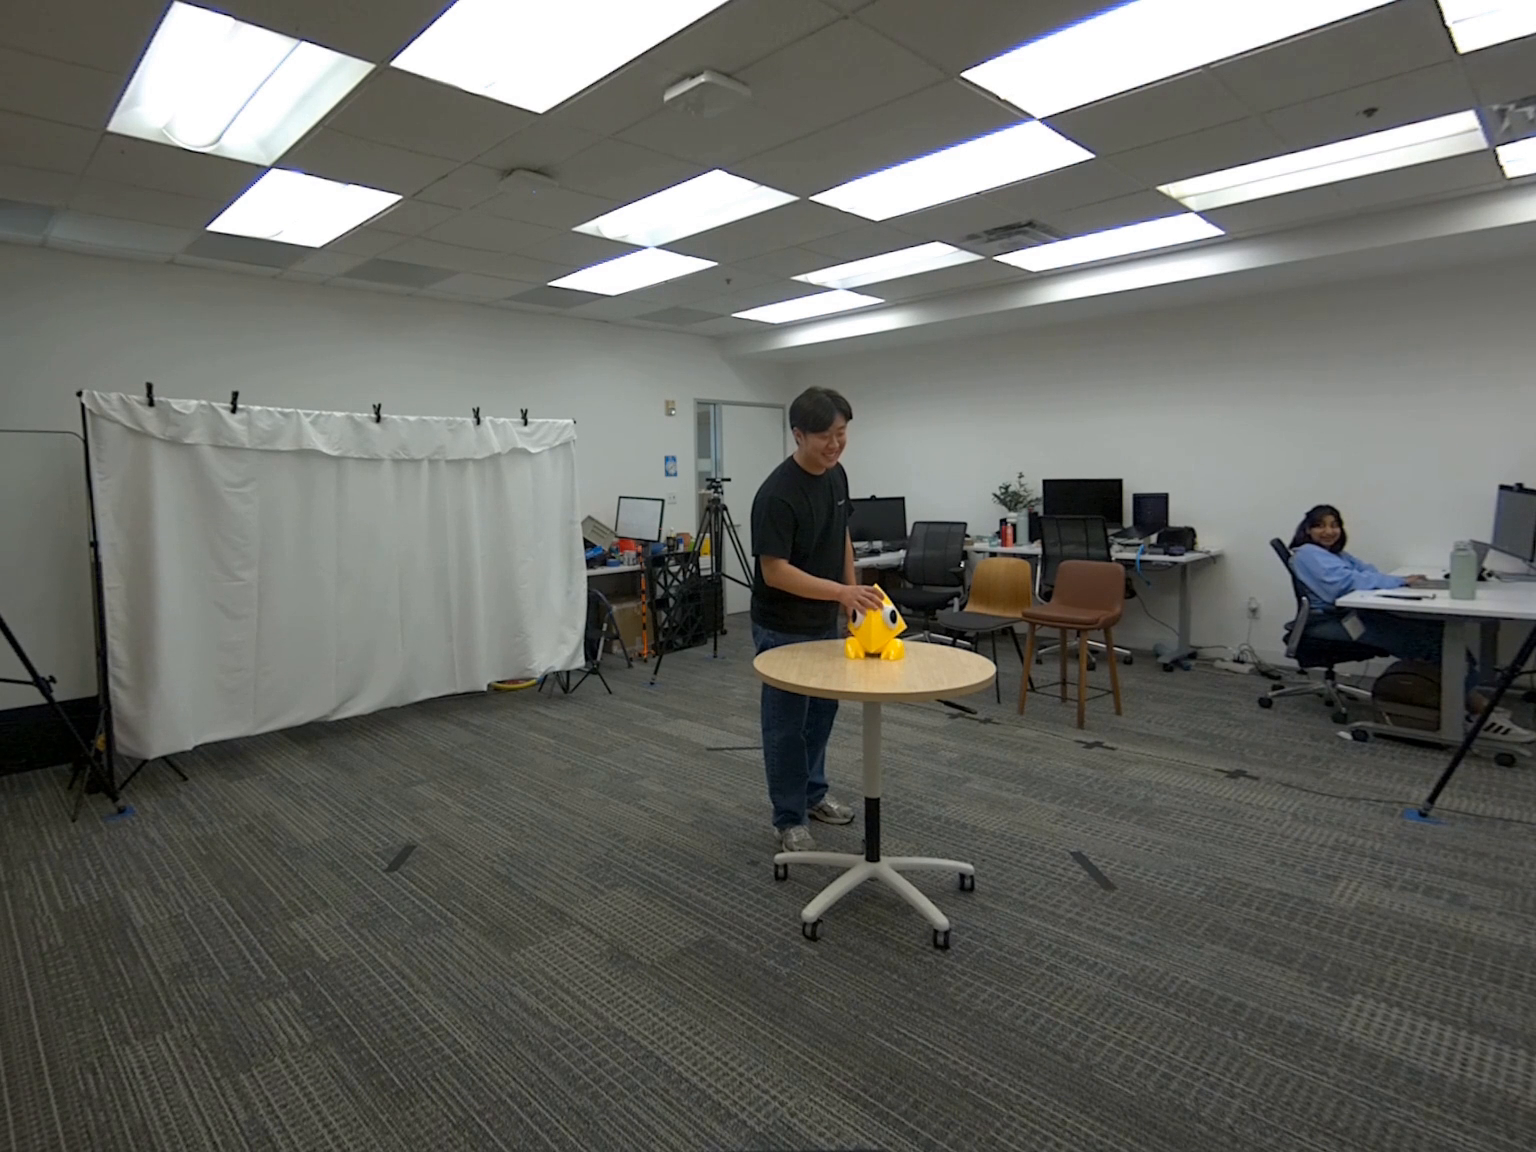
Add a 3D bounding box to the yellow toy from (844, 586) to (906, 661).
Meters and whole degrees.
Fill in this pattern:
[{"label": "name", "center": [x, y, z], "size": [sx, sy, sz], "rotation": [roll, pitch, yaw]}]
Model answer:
[{"label": "yellow toy", "center": [0.357, 0.151, 2.870], "size": [0.208, 0.230, 0.191], "rotation": [1, 6, 14]}]
